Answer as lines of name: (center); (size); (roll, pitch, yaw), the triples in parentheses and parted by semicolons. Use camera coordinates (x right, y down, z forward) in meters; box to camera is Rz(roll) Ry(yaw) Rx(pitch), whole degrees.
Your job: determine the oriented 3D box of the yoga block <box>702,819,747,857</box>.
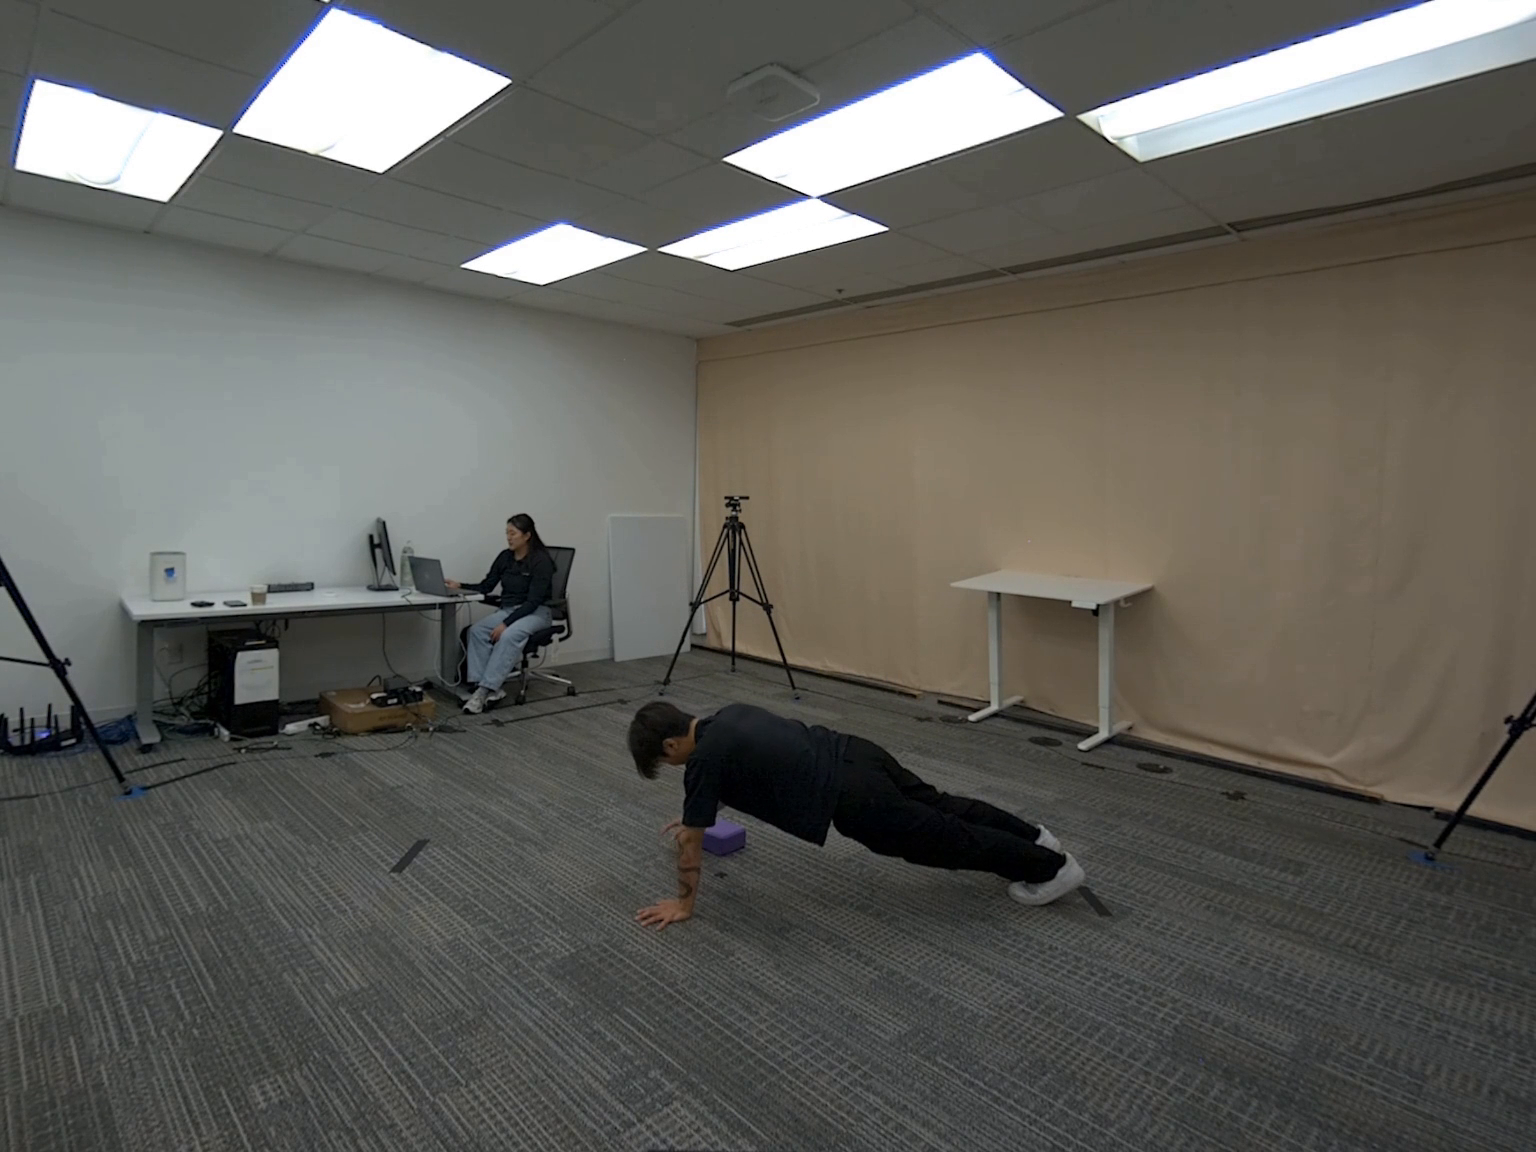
yoga block: (-0.228, 1.036, 3.383); (0.235, 0.076, 0.145); (6, 6, 40)
